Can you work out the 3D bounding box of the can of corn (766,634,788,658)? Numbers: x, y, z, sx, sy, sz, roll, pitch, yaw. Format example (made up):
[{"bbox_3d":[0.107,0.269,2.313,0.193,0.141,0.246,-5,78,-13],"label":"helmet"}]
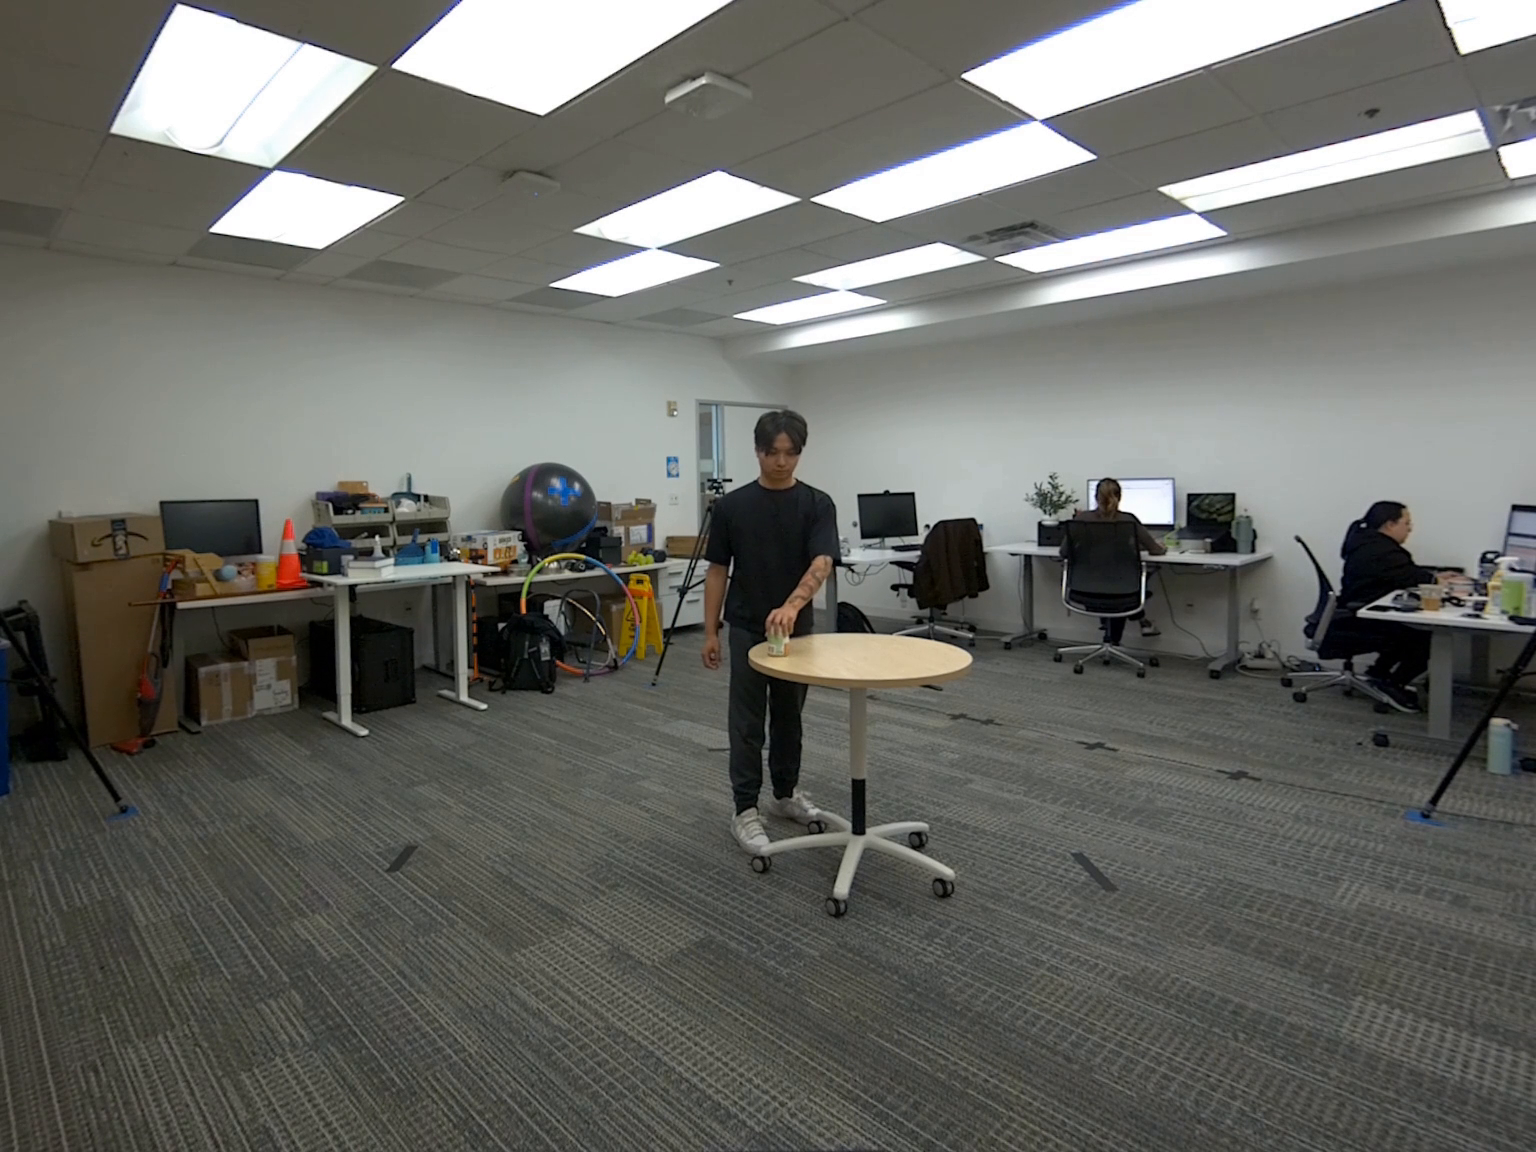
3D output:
[{"bbox_3d":[0.039,0.220,2.954,0.074,0.111,0.074,-3,3,-1],"label":"can of corn"}]
